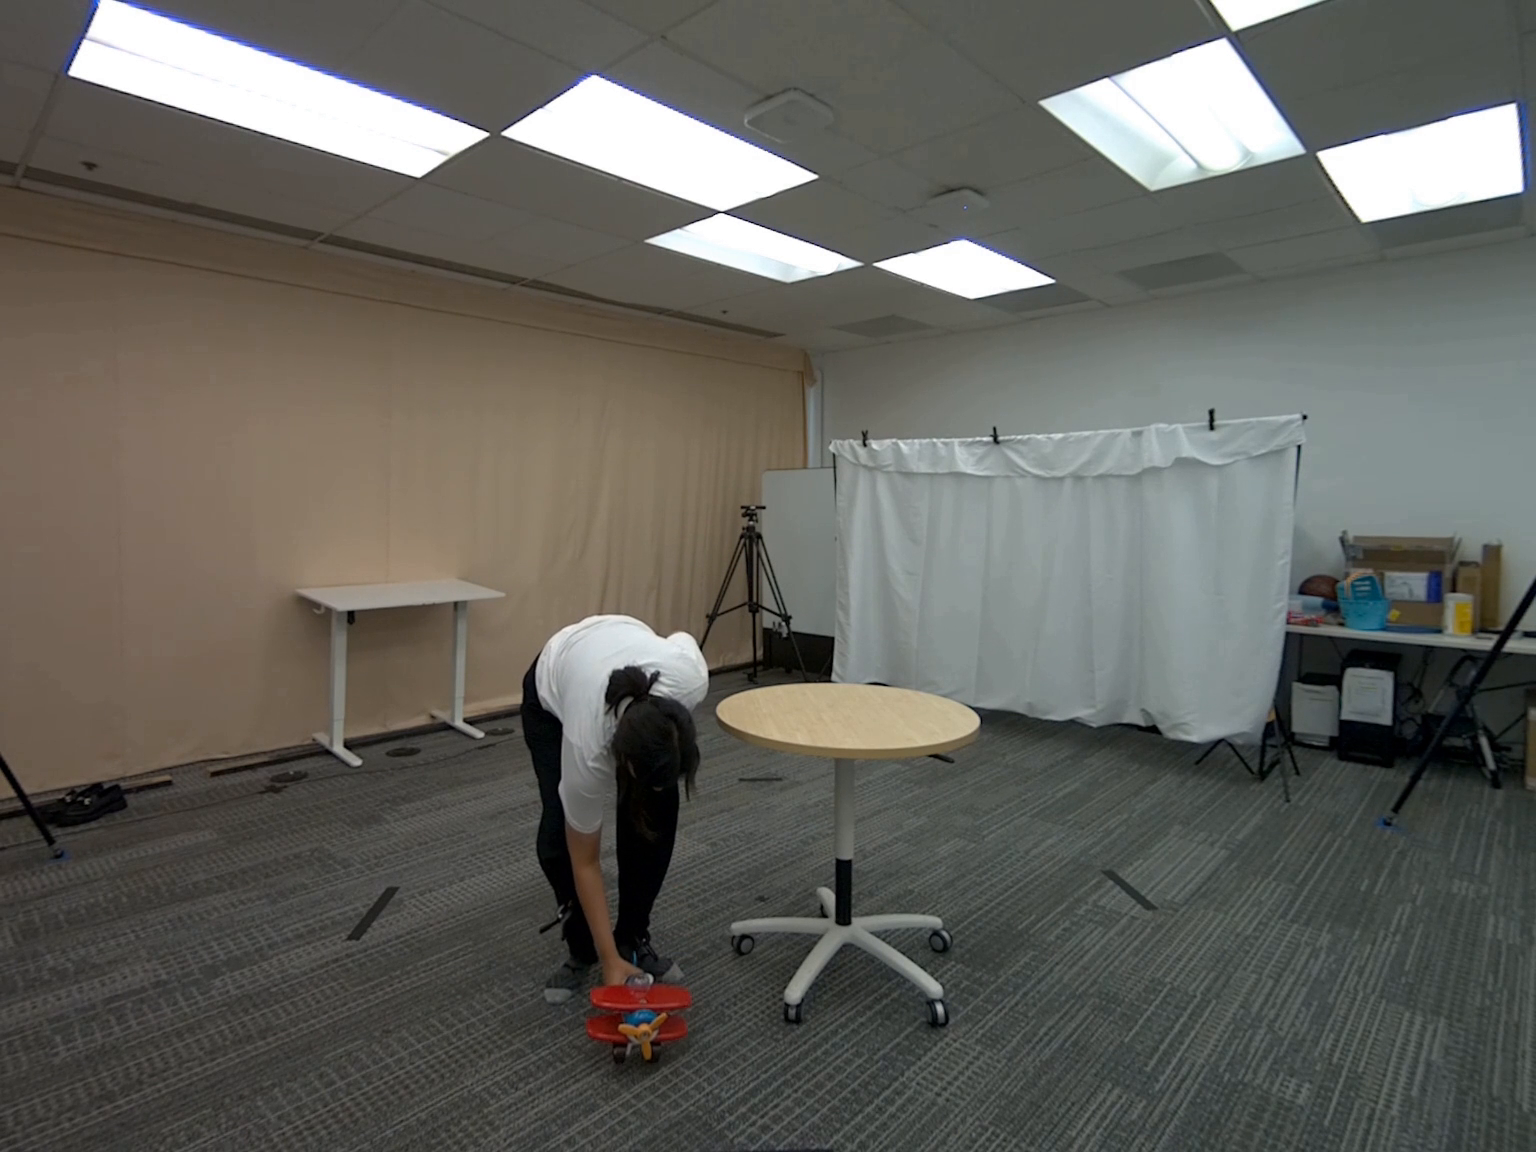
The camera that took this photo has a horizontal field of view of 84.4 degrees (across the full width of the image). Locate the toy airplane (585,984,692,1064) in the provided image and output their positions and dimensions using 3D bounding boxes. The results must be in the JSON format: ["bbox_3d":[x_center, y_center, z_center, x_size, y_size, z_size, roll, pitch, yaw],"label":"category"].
[{"bbox_3d":[-0.351,1.101,2.111,0.243,0.155,0.269,-5,25,-43],"label":"toy airplane"}]
